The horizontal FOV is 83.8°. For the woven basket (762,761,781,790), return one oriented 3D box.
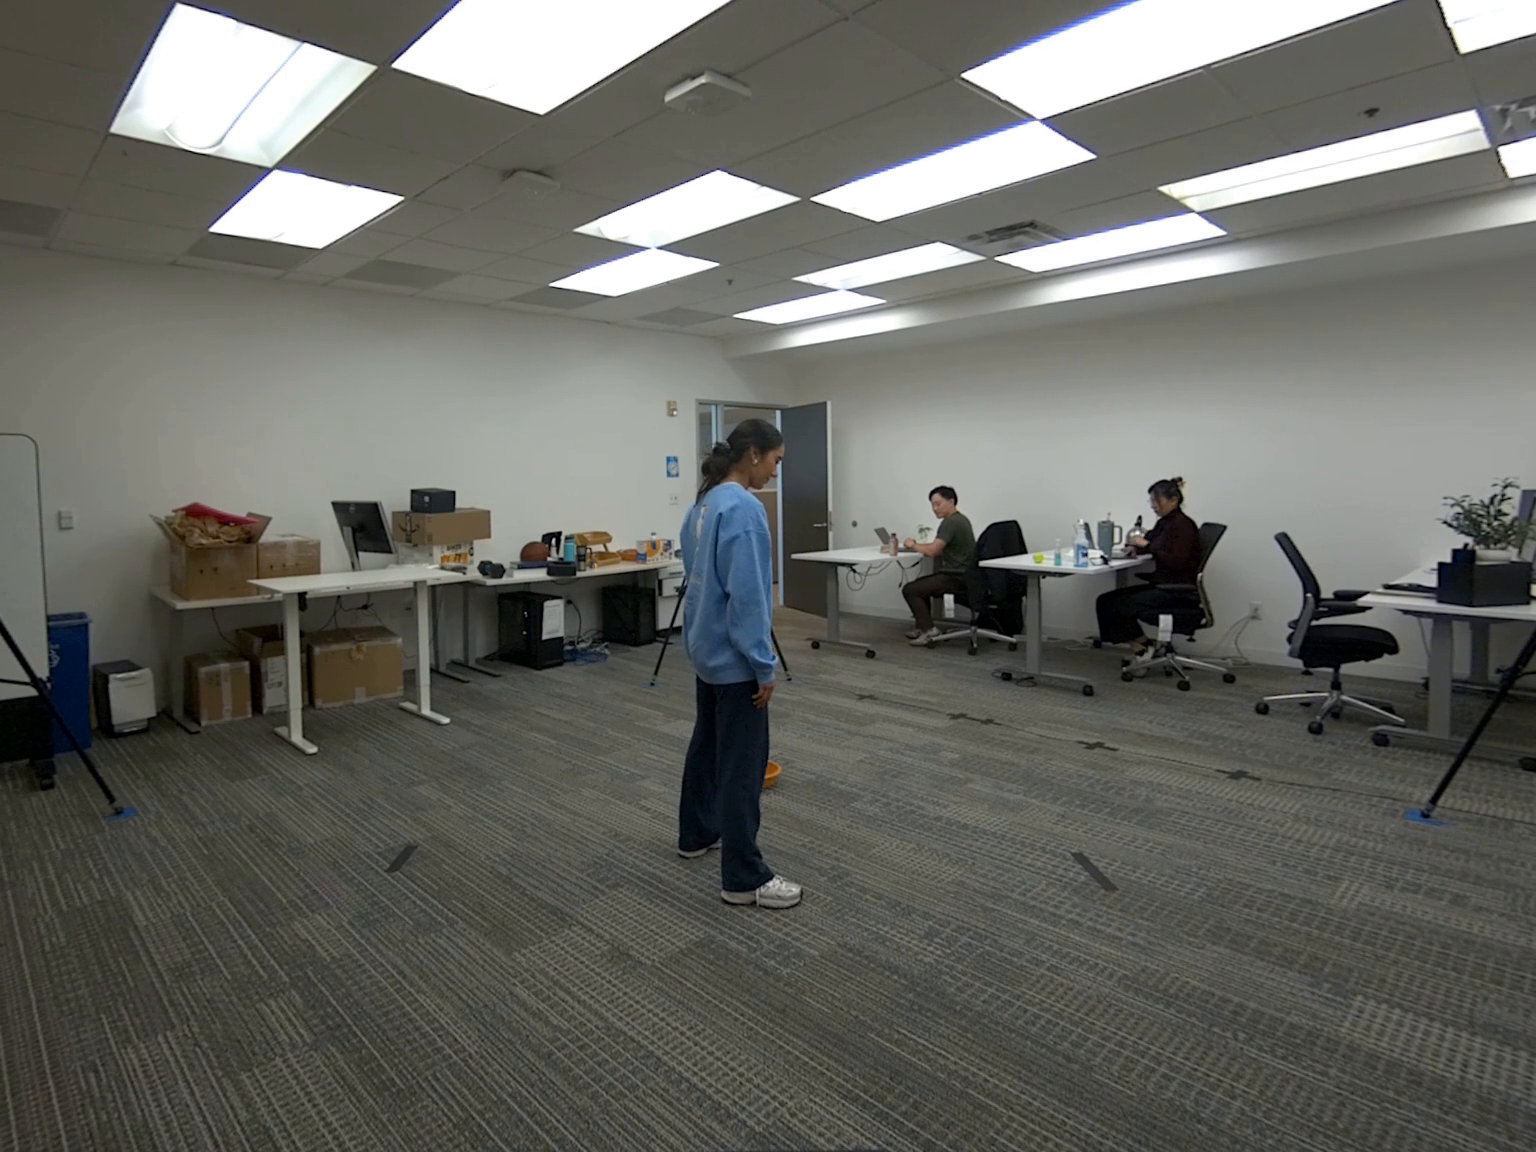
[{"bbox_3d":[-0.105,0.919,3.907,0.344,0.073,0.258,-3,8,-20],"label":"woven basket"}]
